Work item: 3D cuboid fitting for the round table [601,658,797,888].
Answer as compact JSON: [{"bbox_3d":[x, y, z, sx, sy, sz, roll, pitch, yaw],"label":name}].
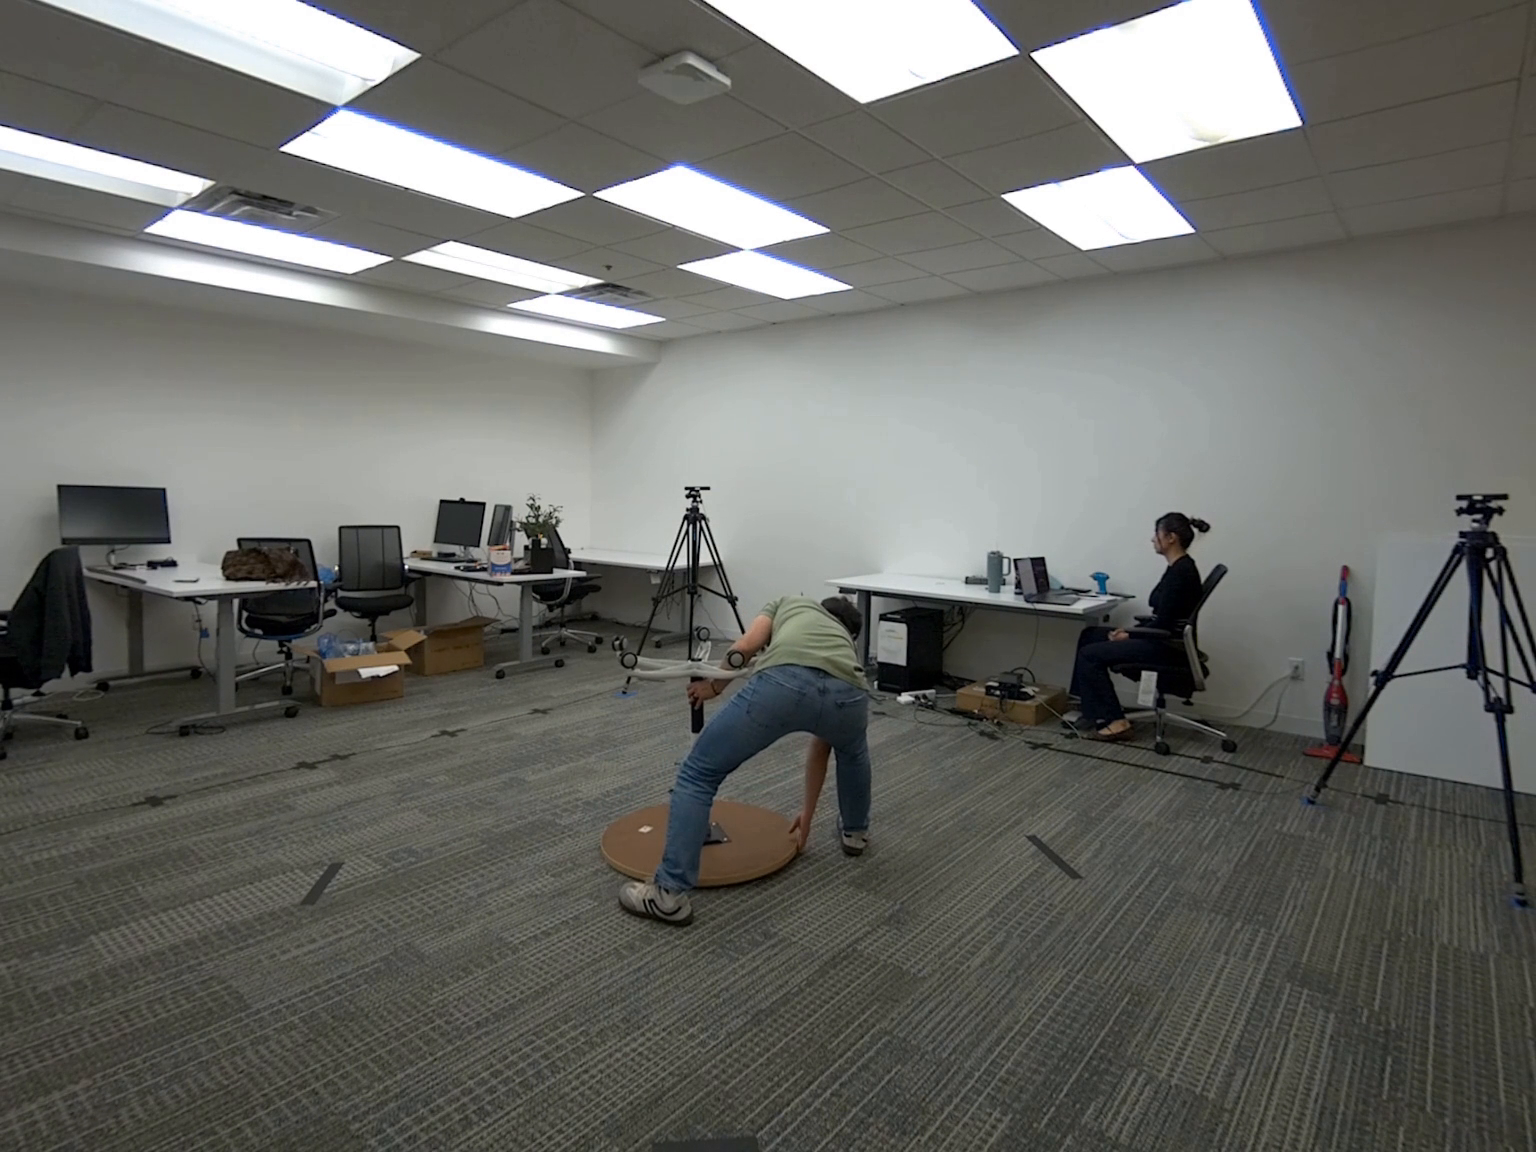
[{"bbox_3d":[-0.284,0.641,3.303,0.763,0.791,0.768,-2,4,-2],"label":"round table"}]
